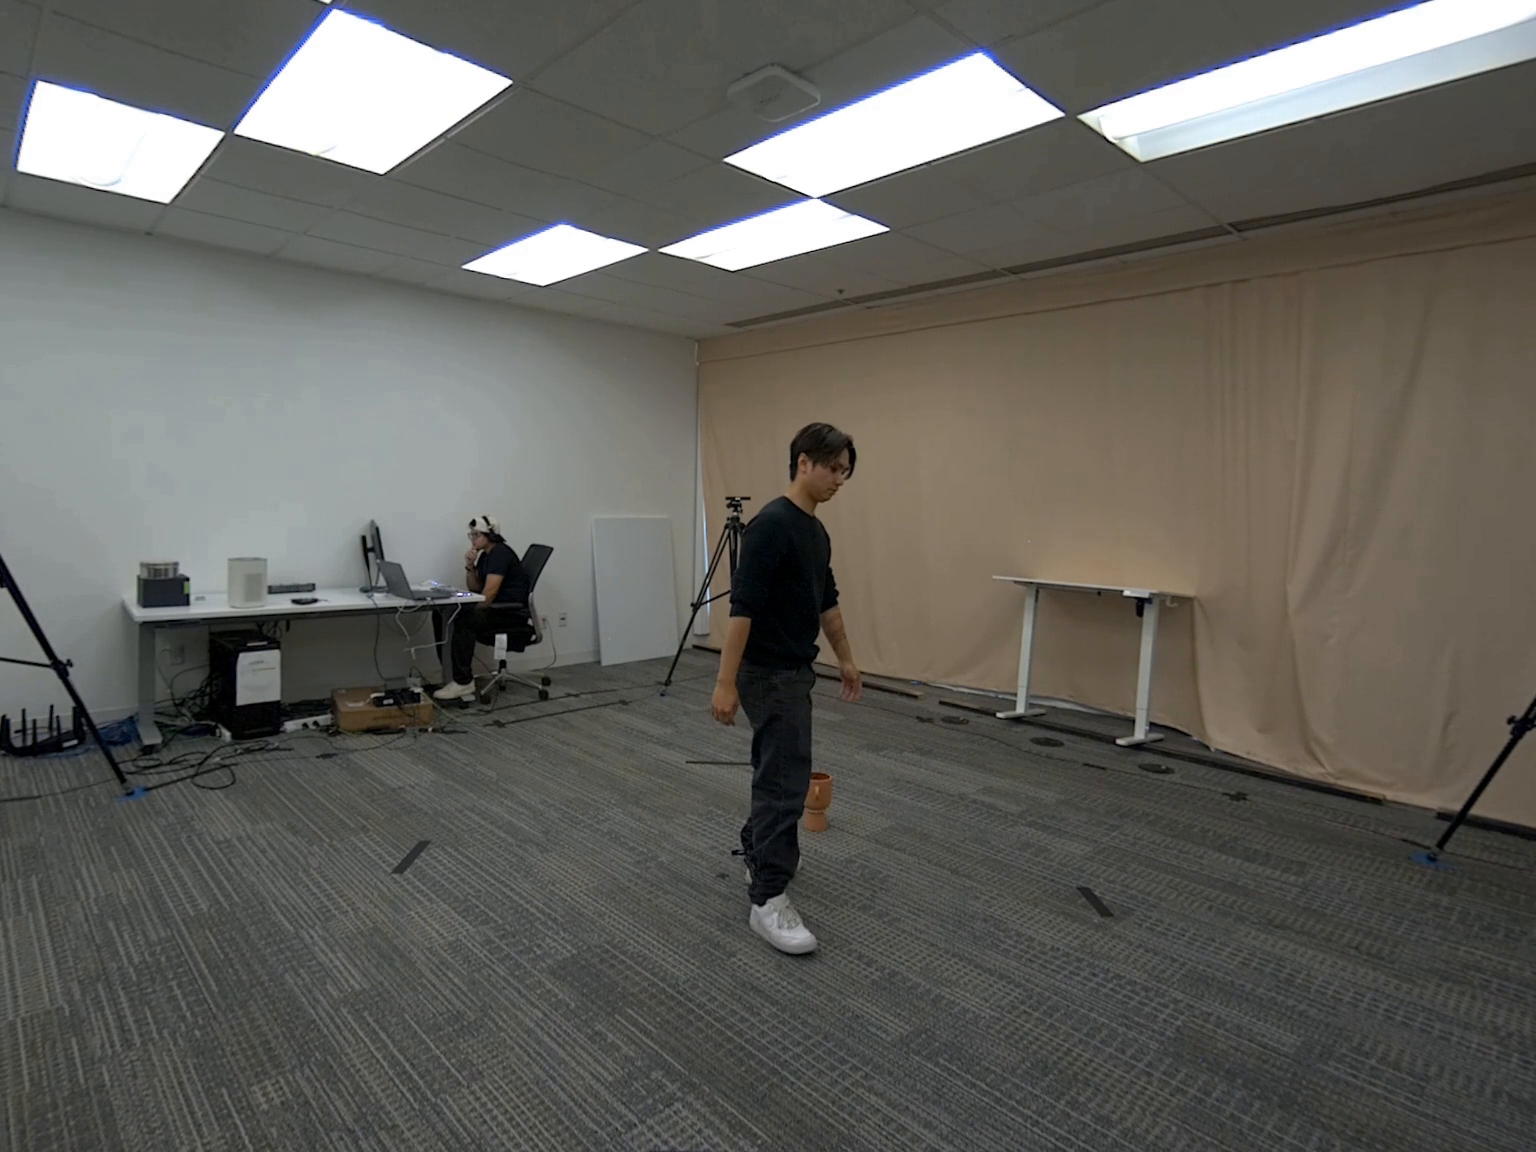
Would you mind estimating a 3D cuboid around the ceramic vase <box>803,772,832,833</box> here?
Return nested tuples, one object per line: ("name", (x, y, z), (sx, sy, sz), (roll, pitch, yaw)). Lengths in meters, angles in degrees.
("ceramic vase", (0.196, 0.960, 3.591), (0.138, 0.219, 0.155), (5, 4, 40))
